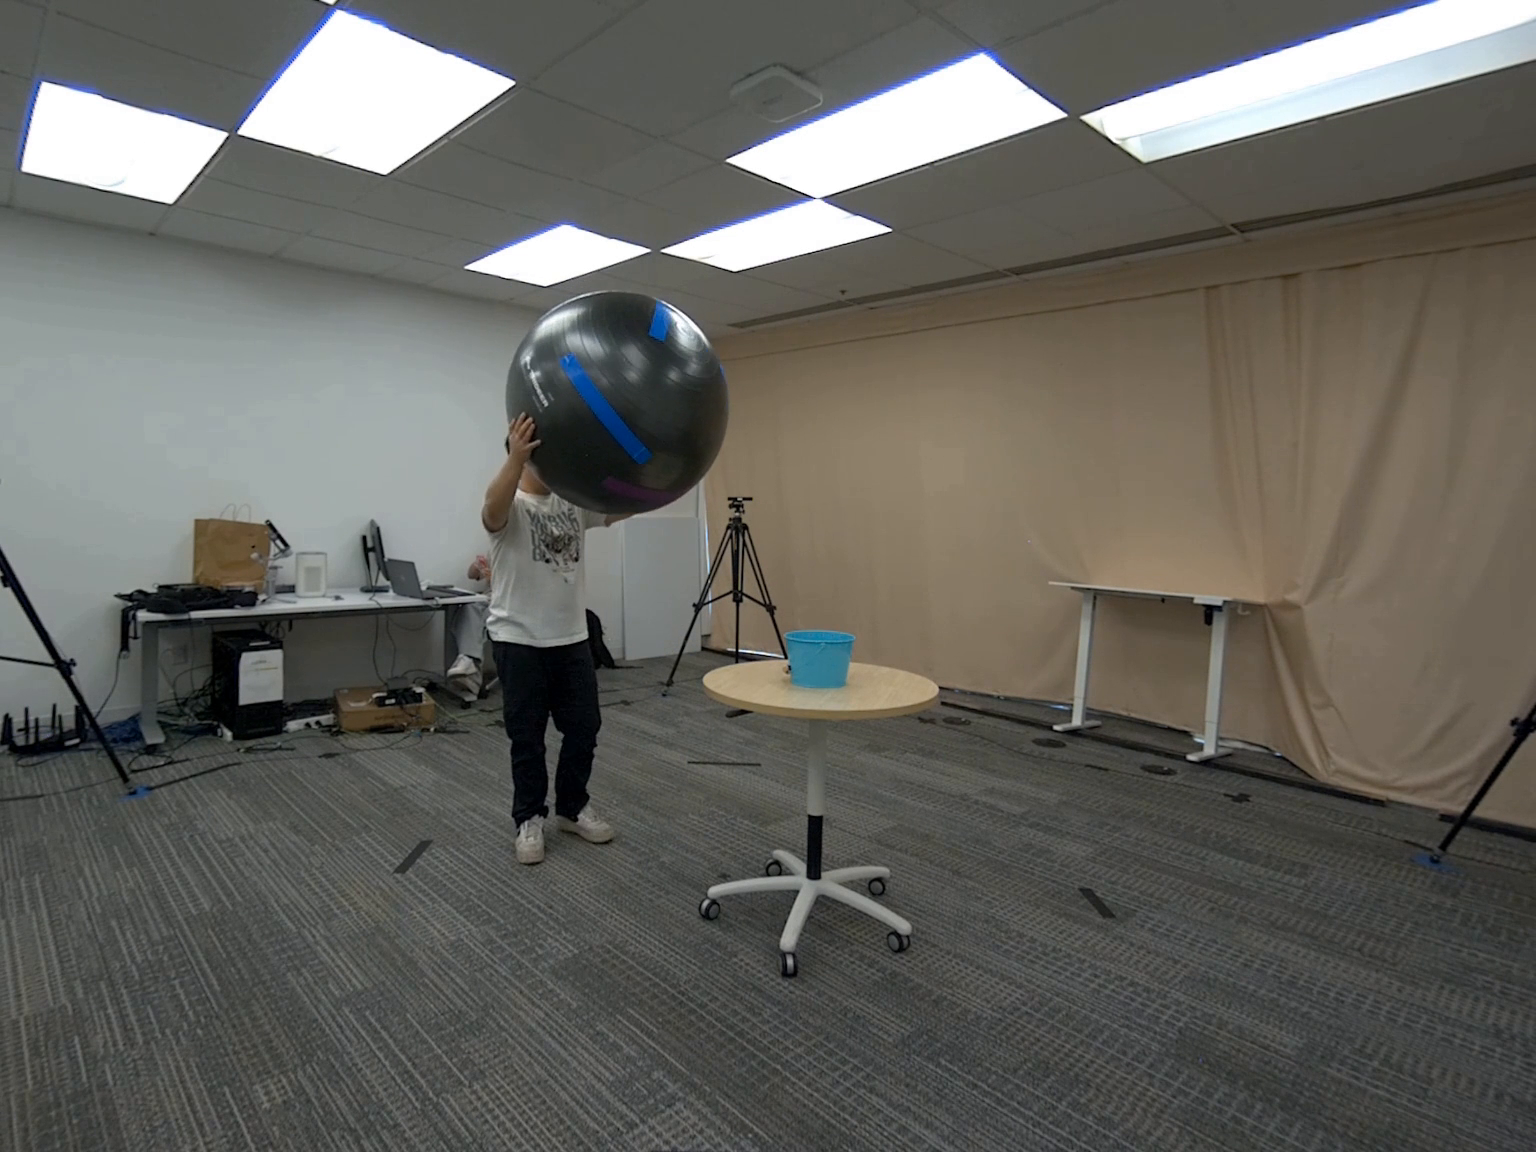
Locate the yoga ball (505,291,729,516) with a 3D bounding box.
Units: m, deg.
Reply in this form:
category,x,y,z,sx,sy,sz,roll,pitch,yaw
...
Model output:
category,x,y,z,sx,sy,sz,roll,pitch,yaw
yoga ball,-0.514,-0.576,2.901,0.757,0.756,0.760,1,4,-1
